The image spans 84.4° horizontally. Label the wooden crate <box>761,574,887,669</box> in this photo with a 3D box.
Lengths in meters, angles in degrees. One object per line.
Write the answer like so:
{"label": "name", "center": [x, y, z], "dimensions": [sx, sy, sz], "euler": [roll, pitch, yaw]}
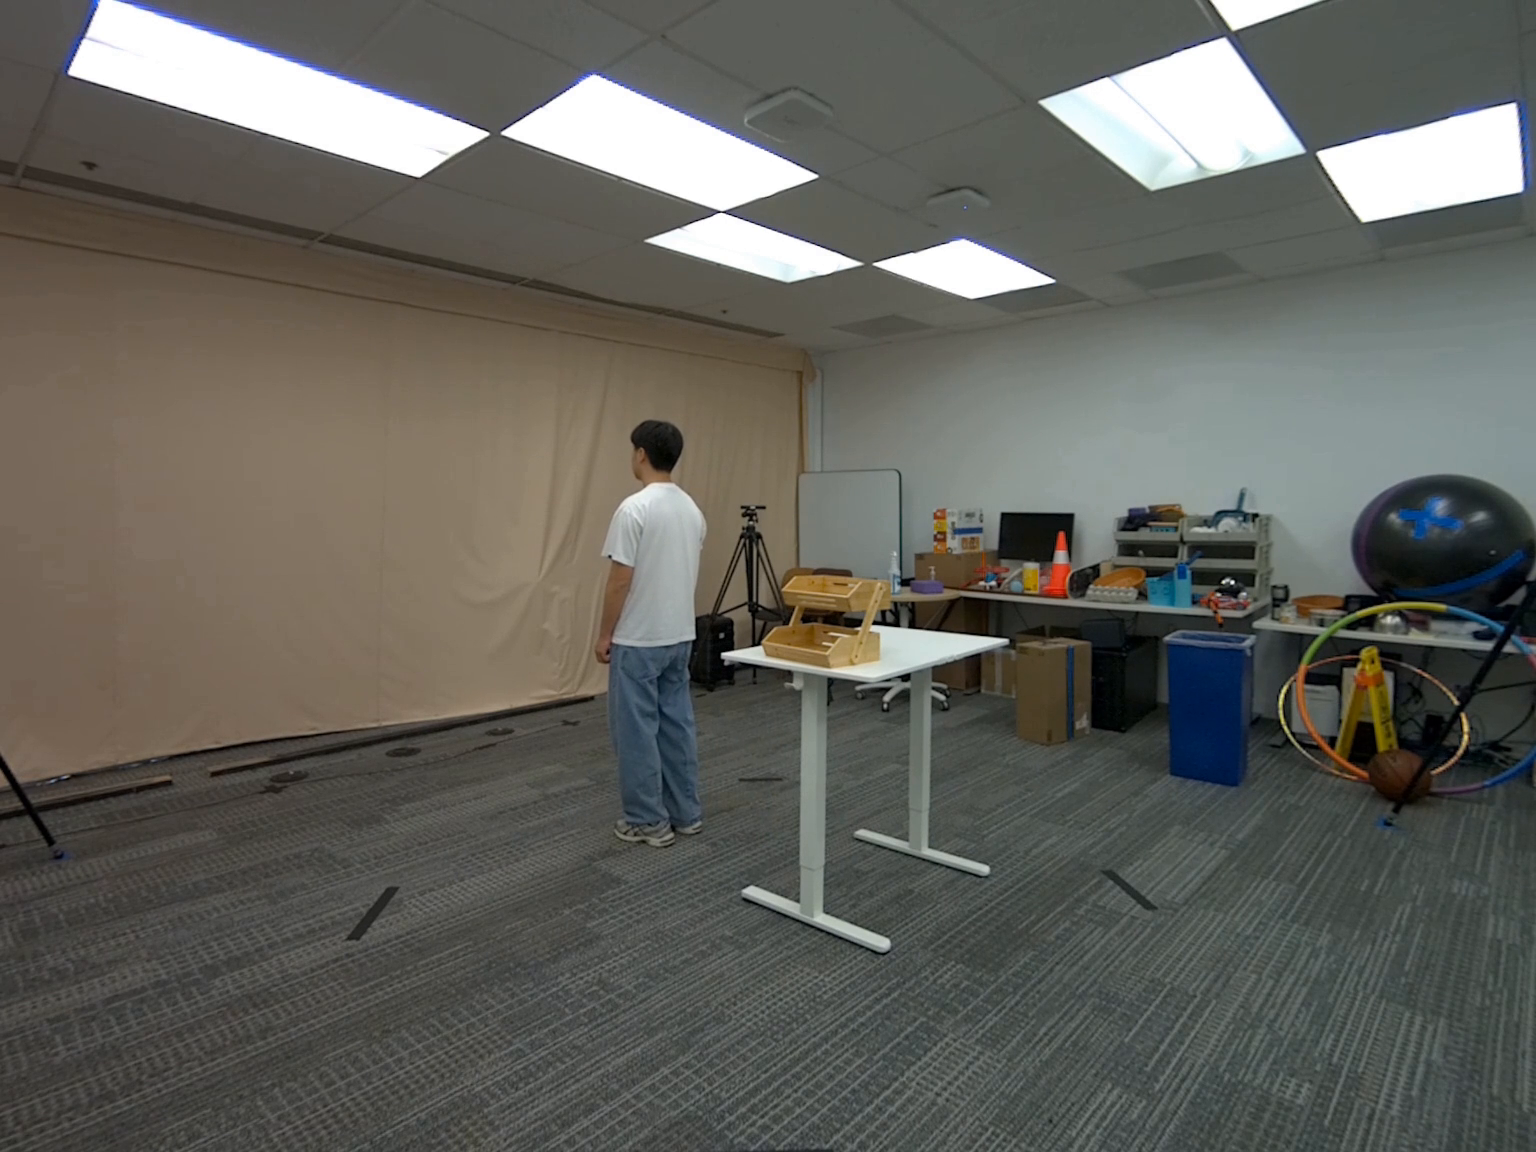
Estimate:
{"label": "wooden crate", "center": [0.193, 0.140, 2.798], "dimensions": [0.292, 0.273, 0.335], "euler": [-2, 4, -42]}
